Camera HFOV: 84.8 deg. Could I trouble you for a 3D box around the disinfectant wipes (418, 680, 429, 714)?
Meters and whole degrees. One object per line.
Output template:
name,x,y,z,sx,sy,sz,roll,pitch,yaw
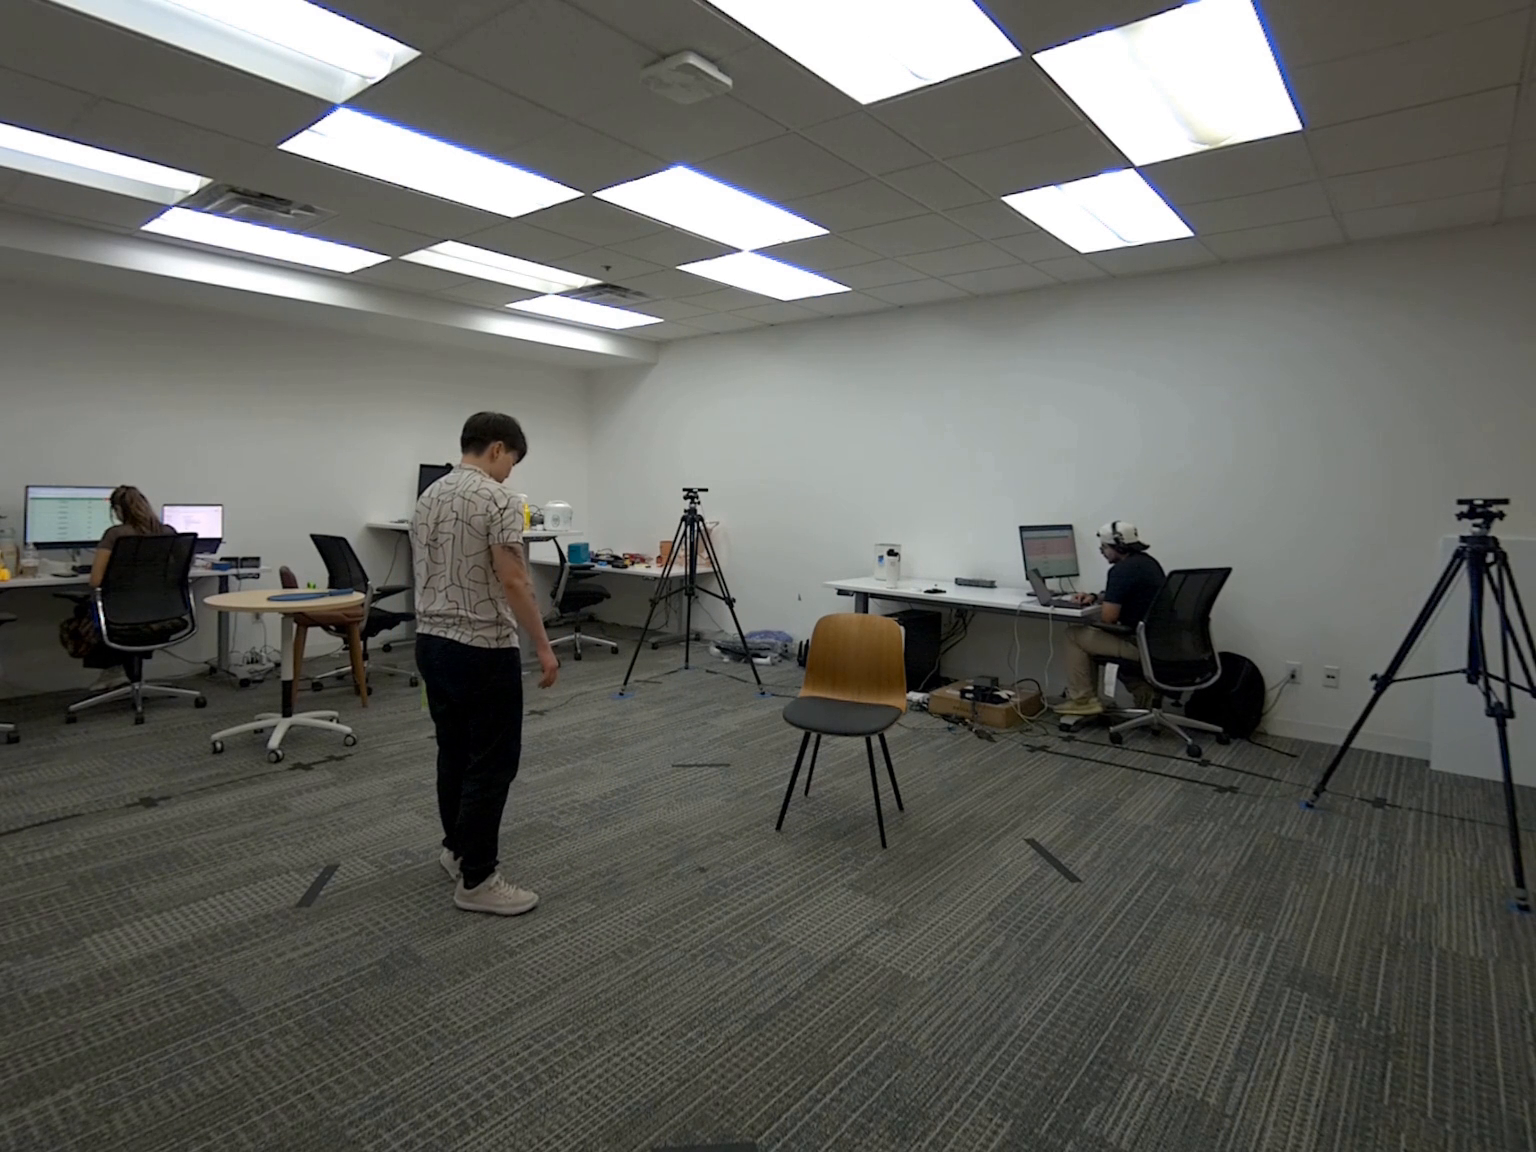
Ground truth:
disinfectant wipes,-1.253,0.403,3.203,0.118,0.219,0.117,0,-5,-2
